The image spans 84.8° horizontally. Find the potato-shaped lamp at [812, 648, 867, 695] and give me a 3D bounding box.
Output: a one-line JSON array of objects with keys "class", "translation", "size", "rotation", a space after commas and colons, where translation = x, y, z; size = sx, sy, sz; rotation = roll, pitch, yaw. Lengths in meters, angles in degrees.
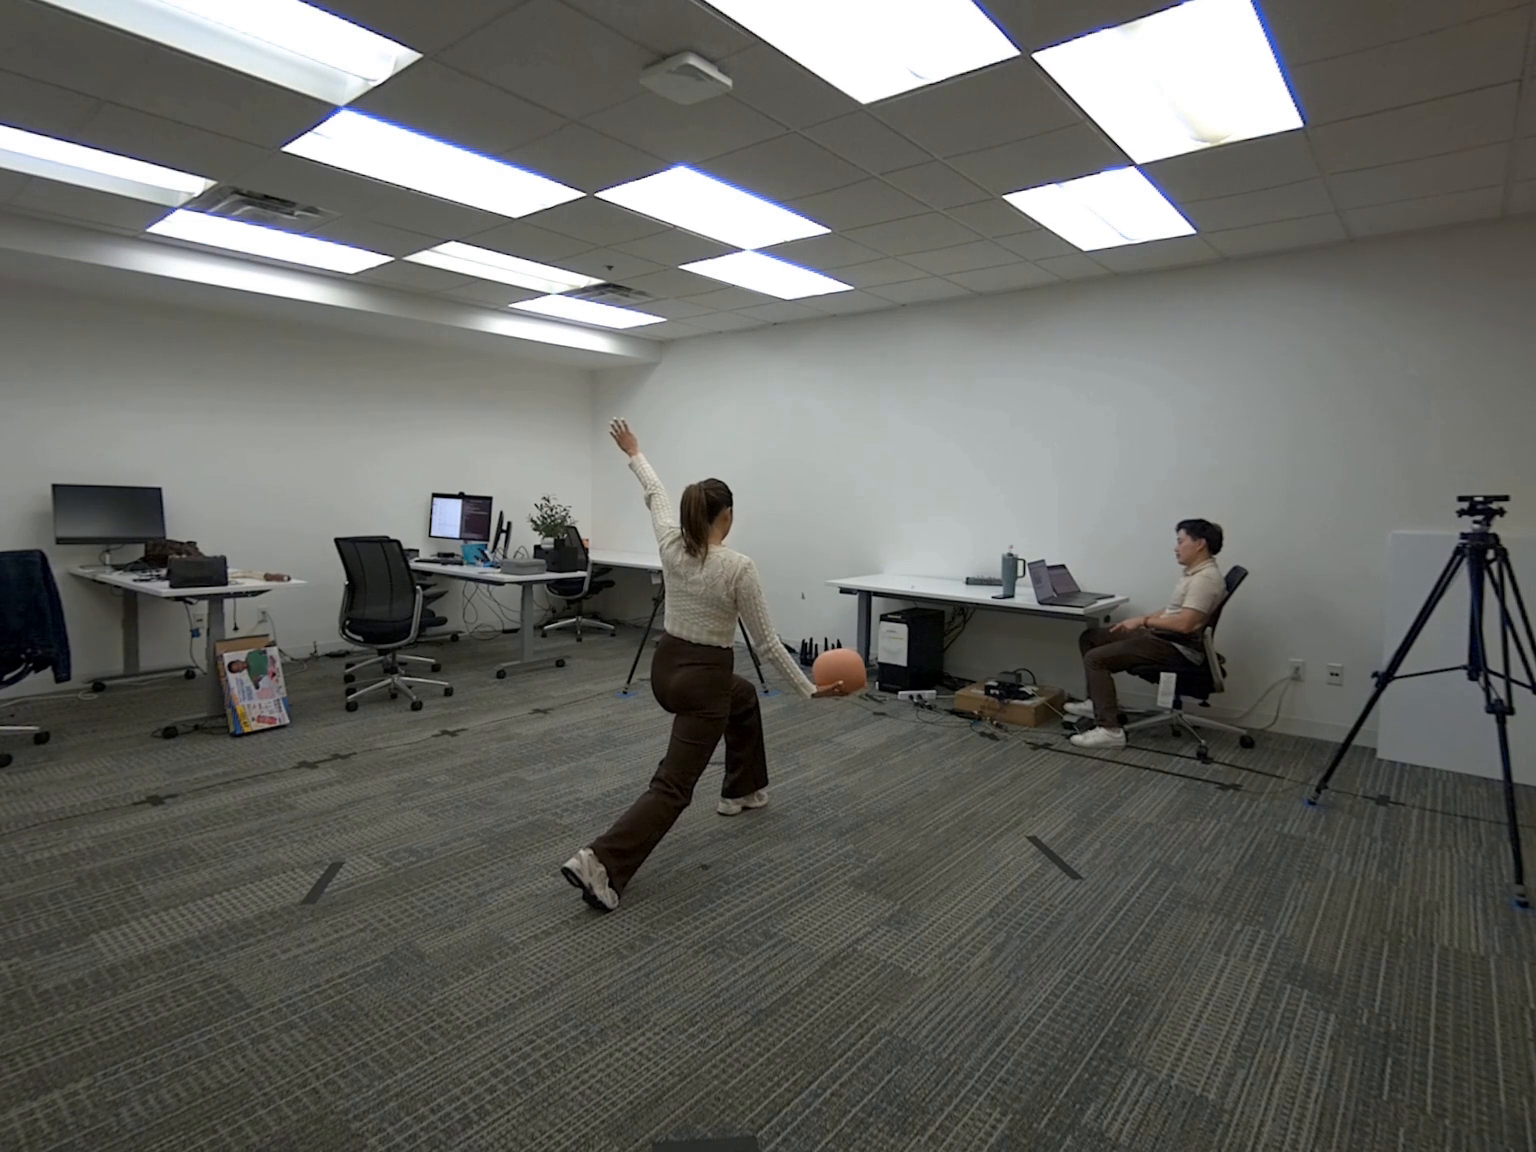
[{"class": "potato-shaped lamp", "translation": [0.262, 0.371, 3.294], "size": [0.196, 0.173, 0.165], "rotation": [-9, -5, -13]}]
